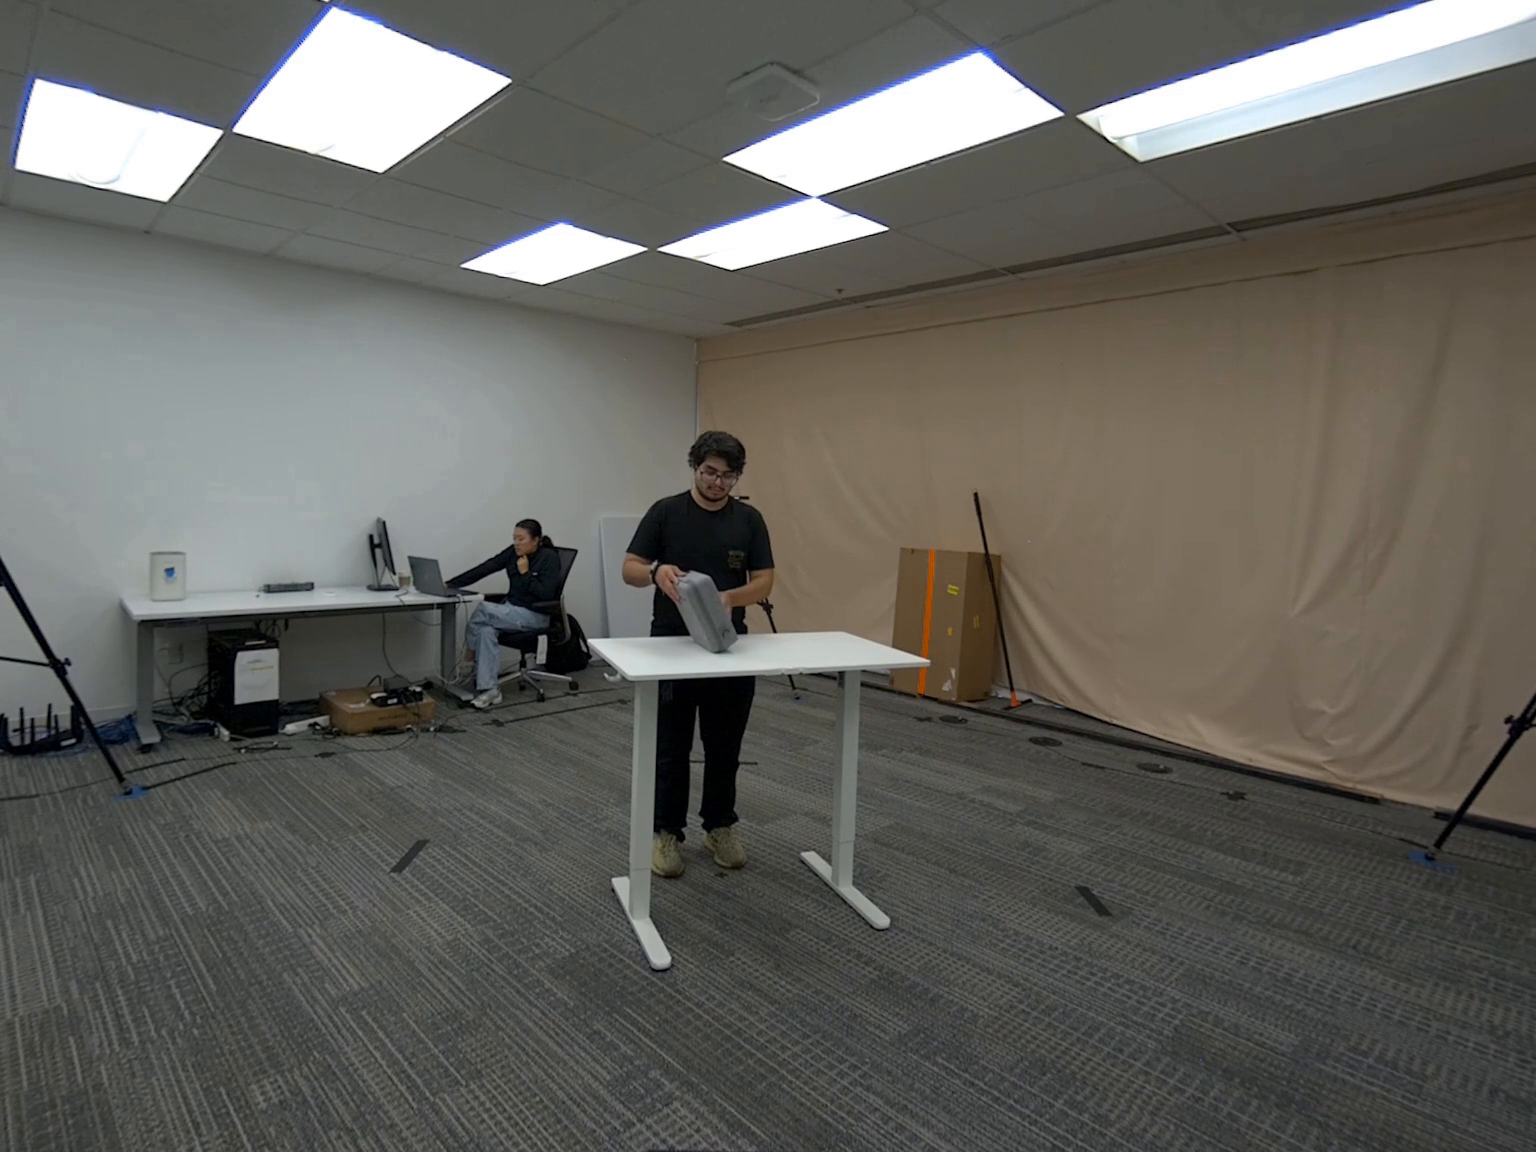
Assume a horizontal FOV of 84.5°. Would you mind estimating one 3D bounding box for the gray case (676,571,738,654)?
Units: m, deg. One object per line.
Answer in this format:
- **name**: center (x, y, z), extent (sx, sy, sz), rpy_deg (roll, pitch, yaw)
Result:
- **gray case**: center (-0.237, 0.114, 2.820), extent (0.103, 0.258, 0.262), rpy_deg (-21, 12, -17)
